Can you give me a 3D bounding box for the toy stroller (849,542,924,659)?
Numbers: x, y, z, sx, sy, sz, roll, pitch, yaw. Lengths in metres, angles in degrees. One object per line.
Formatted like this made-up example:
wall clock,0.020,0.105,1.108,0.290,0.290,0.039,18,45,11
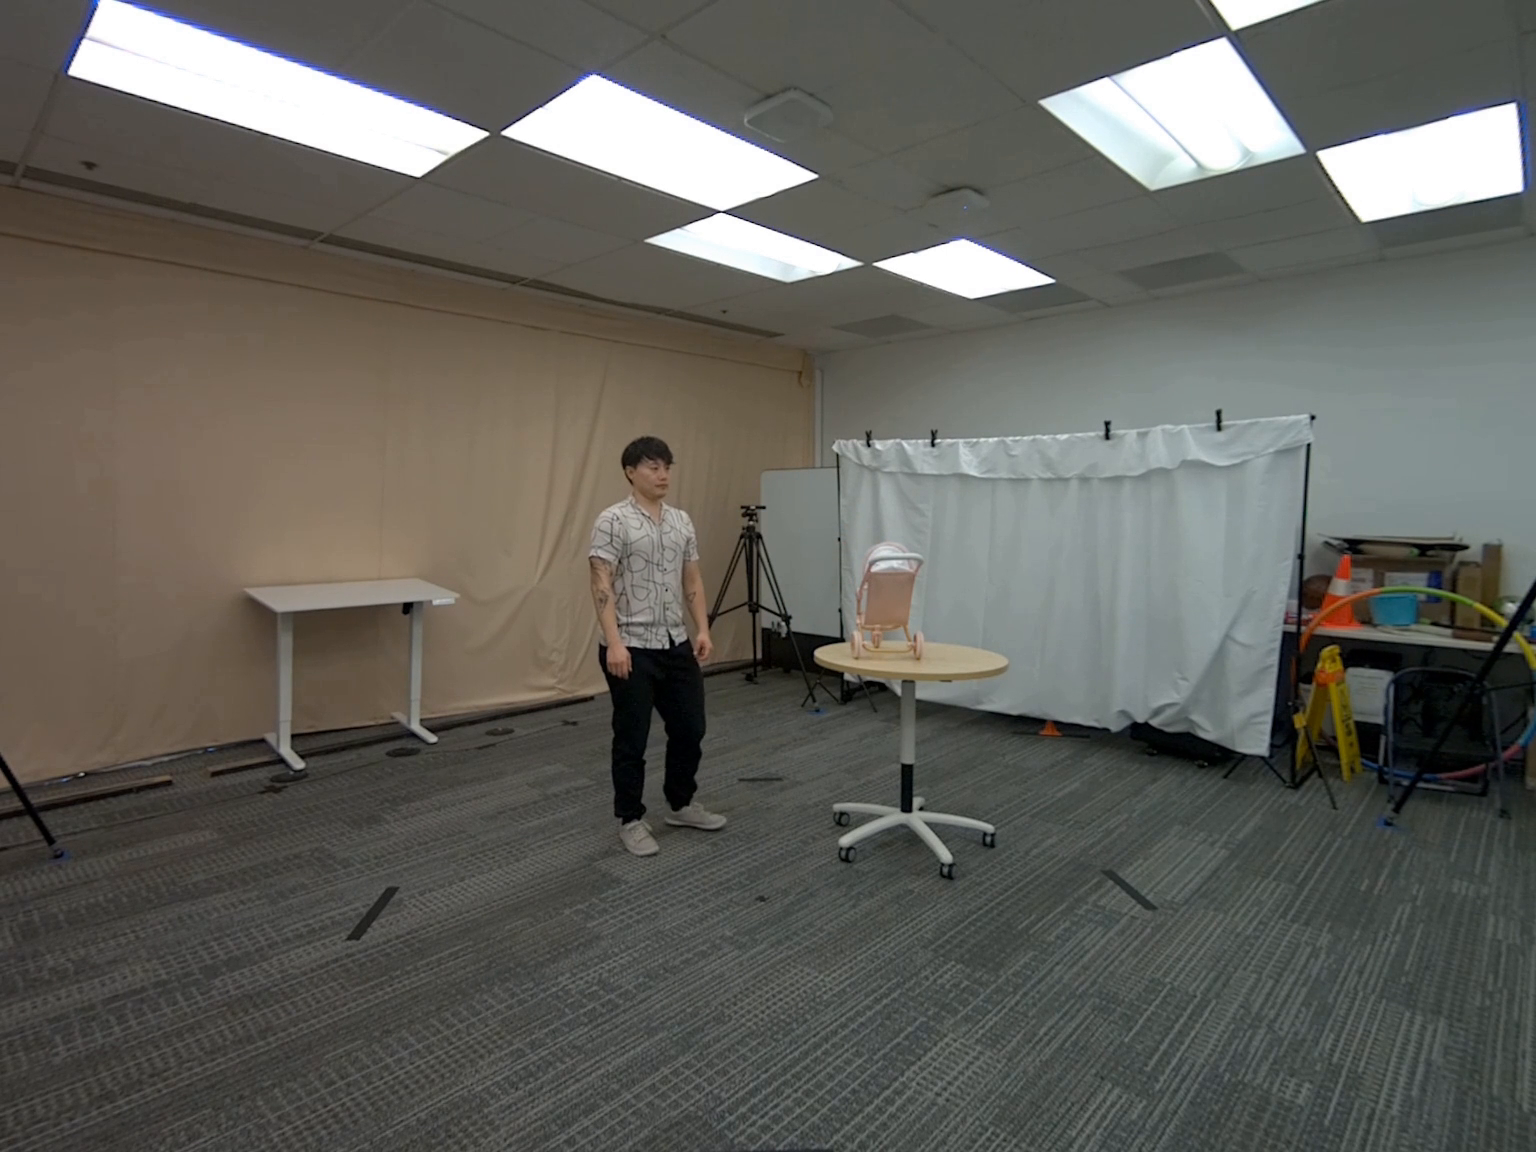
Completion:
toy stroller,0.478,0.102,3.393,0.283,0.529,0.344,1,20,2
